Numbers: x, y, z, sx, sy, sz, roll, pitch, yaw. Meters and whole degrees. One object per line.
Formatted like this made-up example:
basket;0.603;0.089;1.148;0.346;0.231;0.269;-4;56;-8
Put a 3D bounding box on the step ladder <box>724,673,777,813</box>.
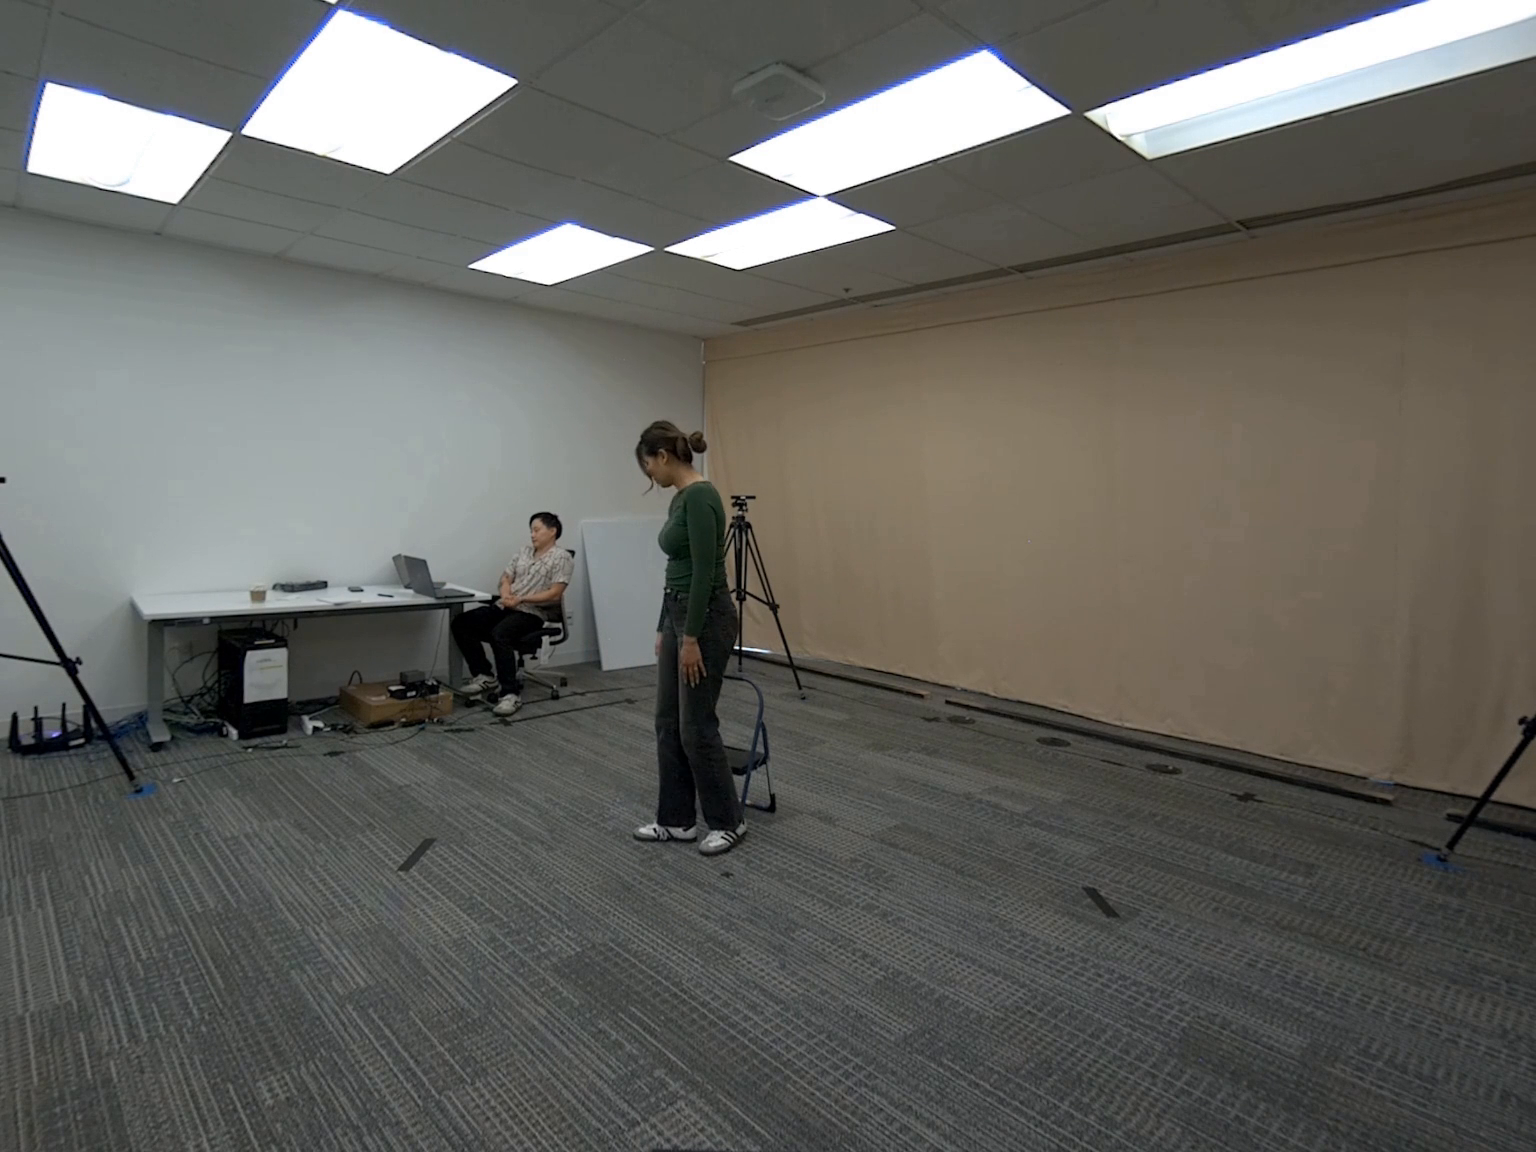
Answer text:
step ladder;-0.221;0.746;3.695;0.440;0.604;0.342;4;4;31
